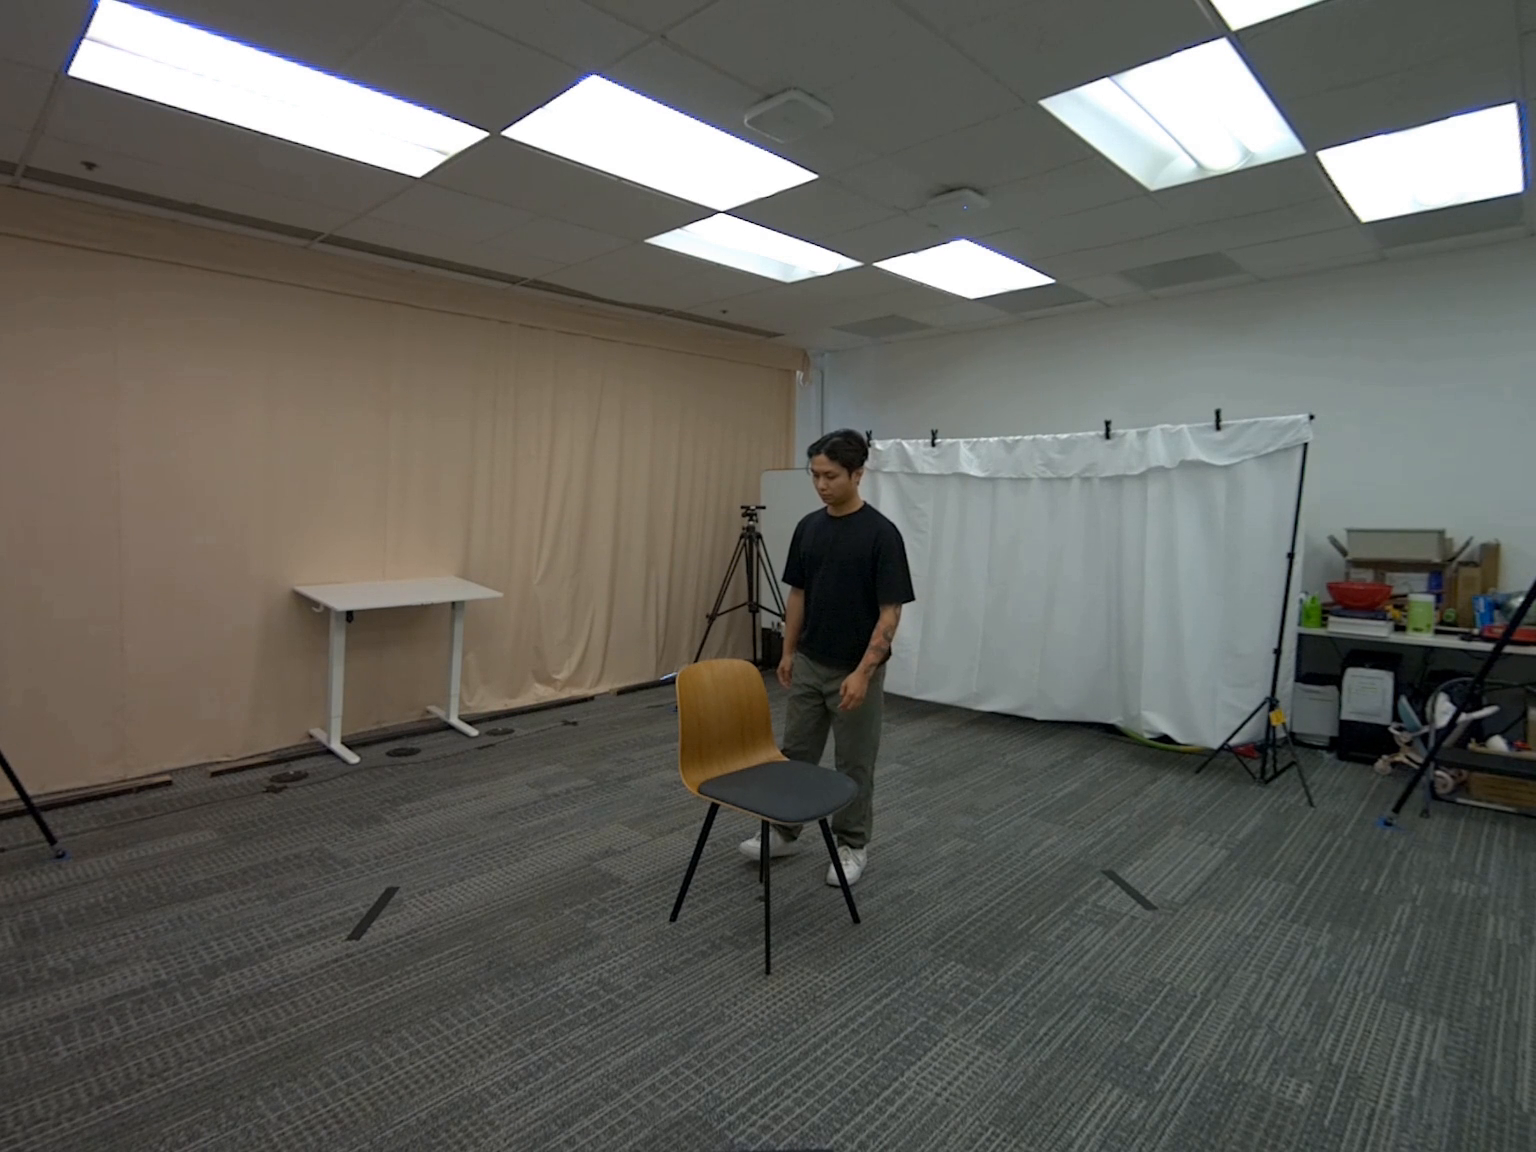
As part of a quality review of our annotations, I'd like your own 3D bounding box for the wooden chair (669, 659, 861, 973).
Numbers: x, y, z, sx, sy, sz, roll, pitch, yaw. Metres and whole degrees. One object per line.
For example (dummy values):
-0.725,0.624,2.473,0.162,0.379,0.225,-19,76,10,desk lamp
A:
-0.007,0.736,2.773,0.463,0.877,0.539,-3,0,-44,wooden chair
